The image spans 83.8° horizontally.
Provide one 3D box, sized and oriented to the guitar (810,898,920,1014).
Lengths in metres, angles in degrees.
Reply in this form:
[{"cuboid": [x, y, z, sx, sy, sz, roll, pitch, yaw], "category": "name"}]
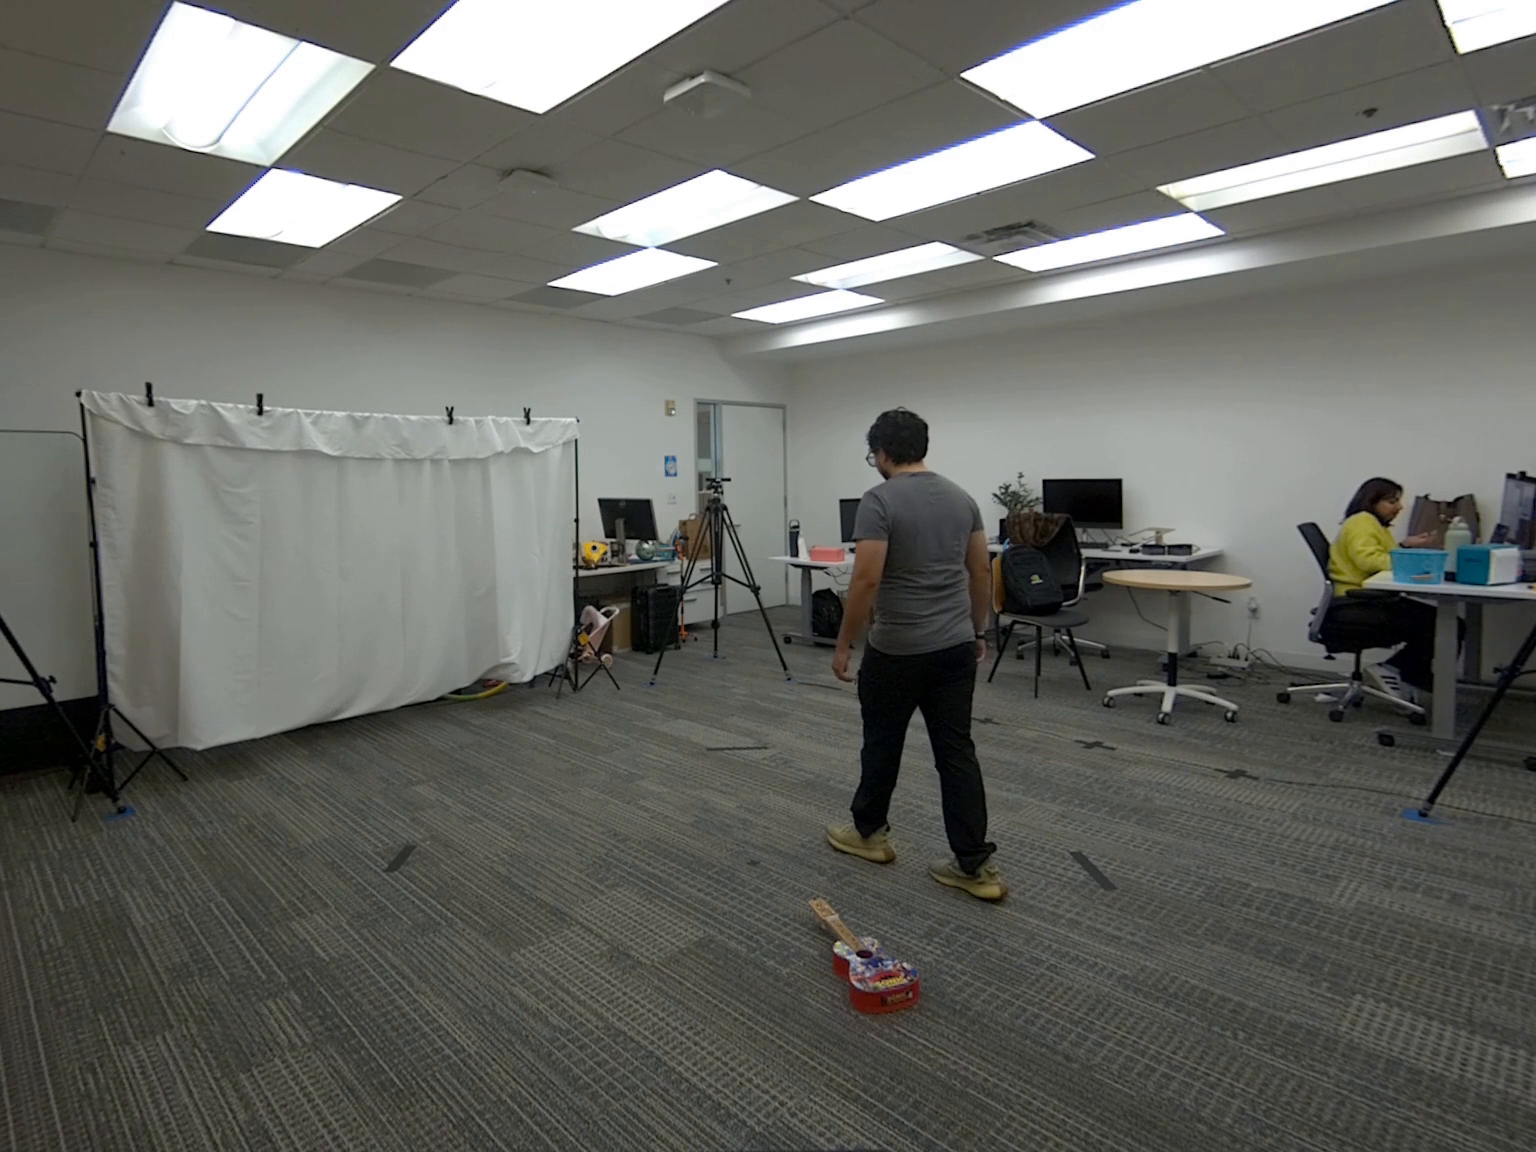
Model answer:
[{"cuboid": [0.277, 1.078, 2.469, 0.191, 0.070, 0.505, -2, 7, -12], "category": "guitar"}]
